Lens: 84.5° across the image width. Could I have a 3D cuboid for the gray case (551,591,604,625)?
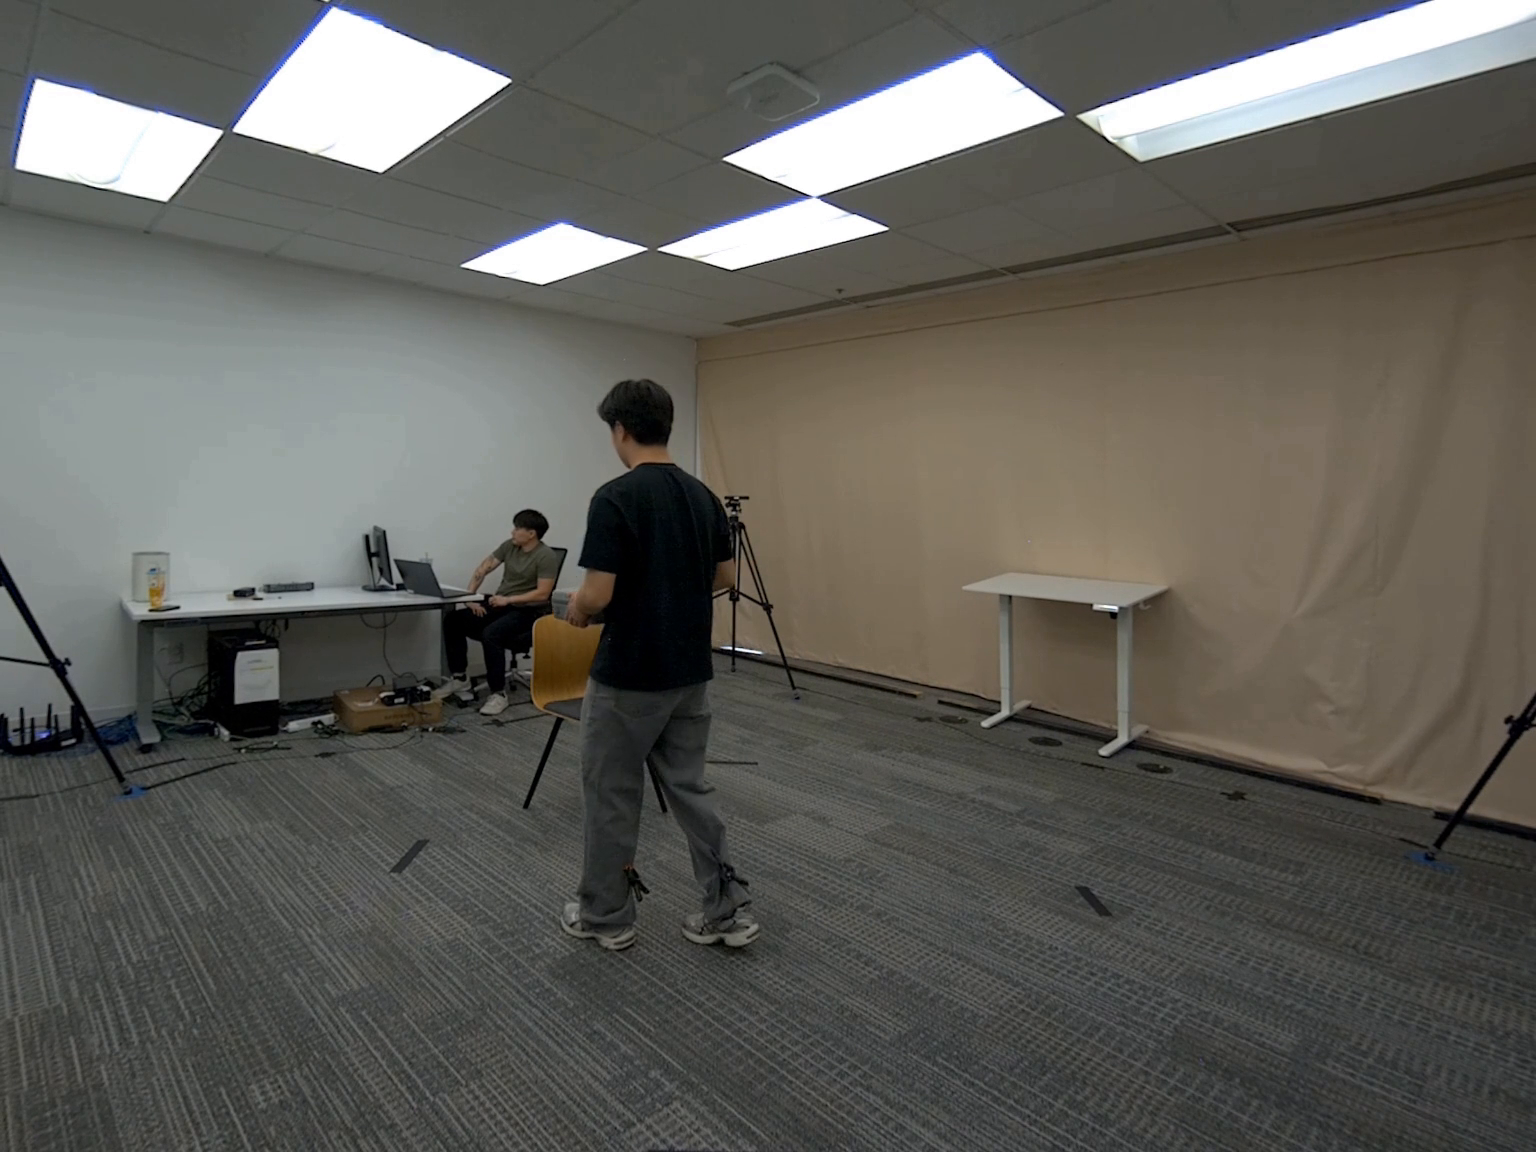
[{"bbox_3d":[-0.572,0.093,2.843,0.294,0.102,0.257,5,8,42],"label":"gray case"}]
